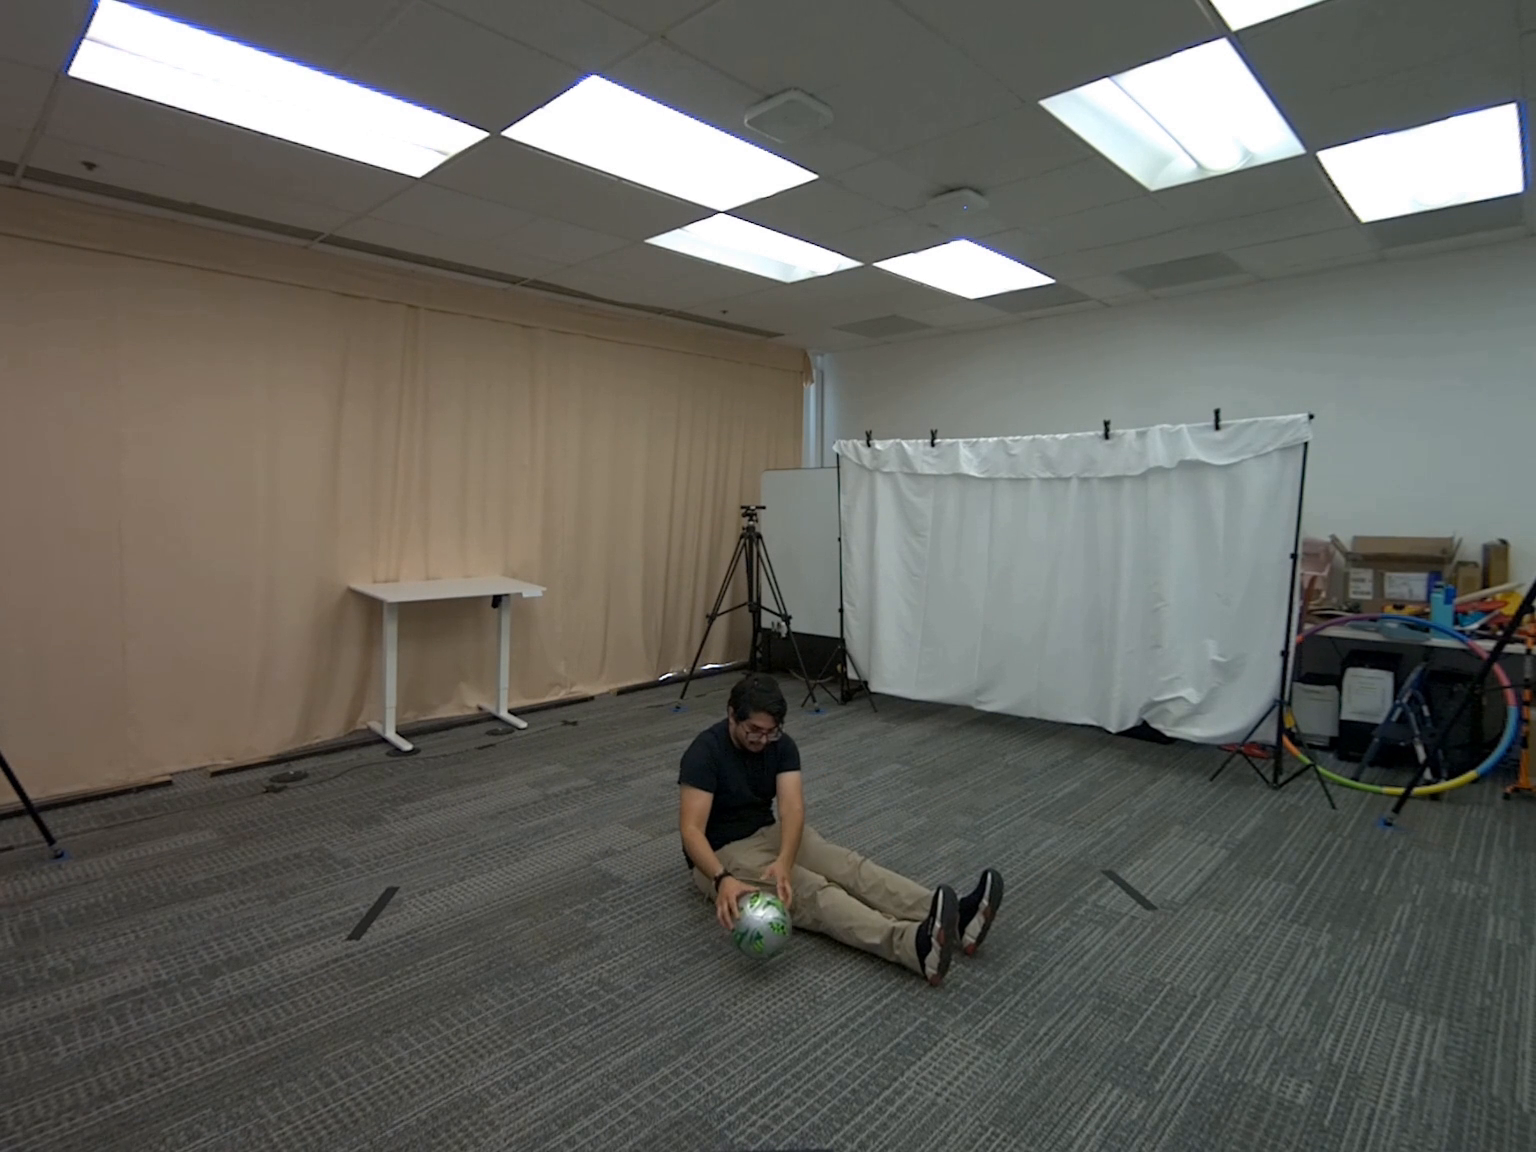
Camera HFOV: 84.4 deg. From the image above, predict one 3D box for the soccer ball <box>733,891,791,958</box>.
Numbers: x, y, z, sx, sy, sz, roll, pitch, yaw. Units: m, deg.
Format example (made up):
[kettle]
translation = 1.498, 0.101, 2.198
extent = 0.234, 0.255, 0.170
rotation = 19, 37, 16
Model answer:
[soccer ball]
translation = -0.013, 1.030, 2.516
extent = 0.187, 0.187, 0.188
rotation = 0, 4, -2
